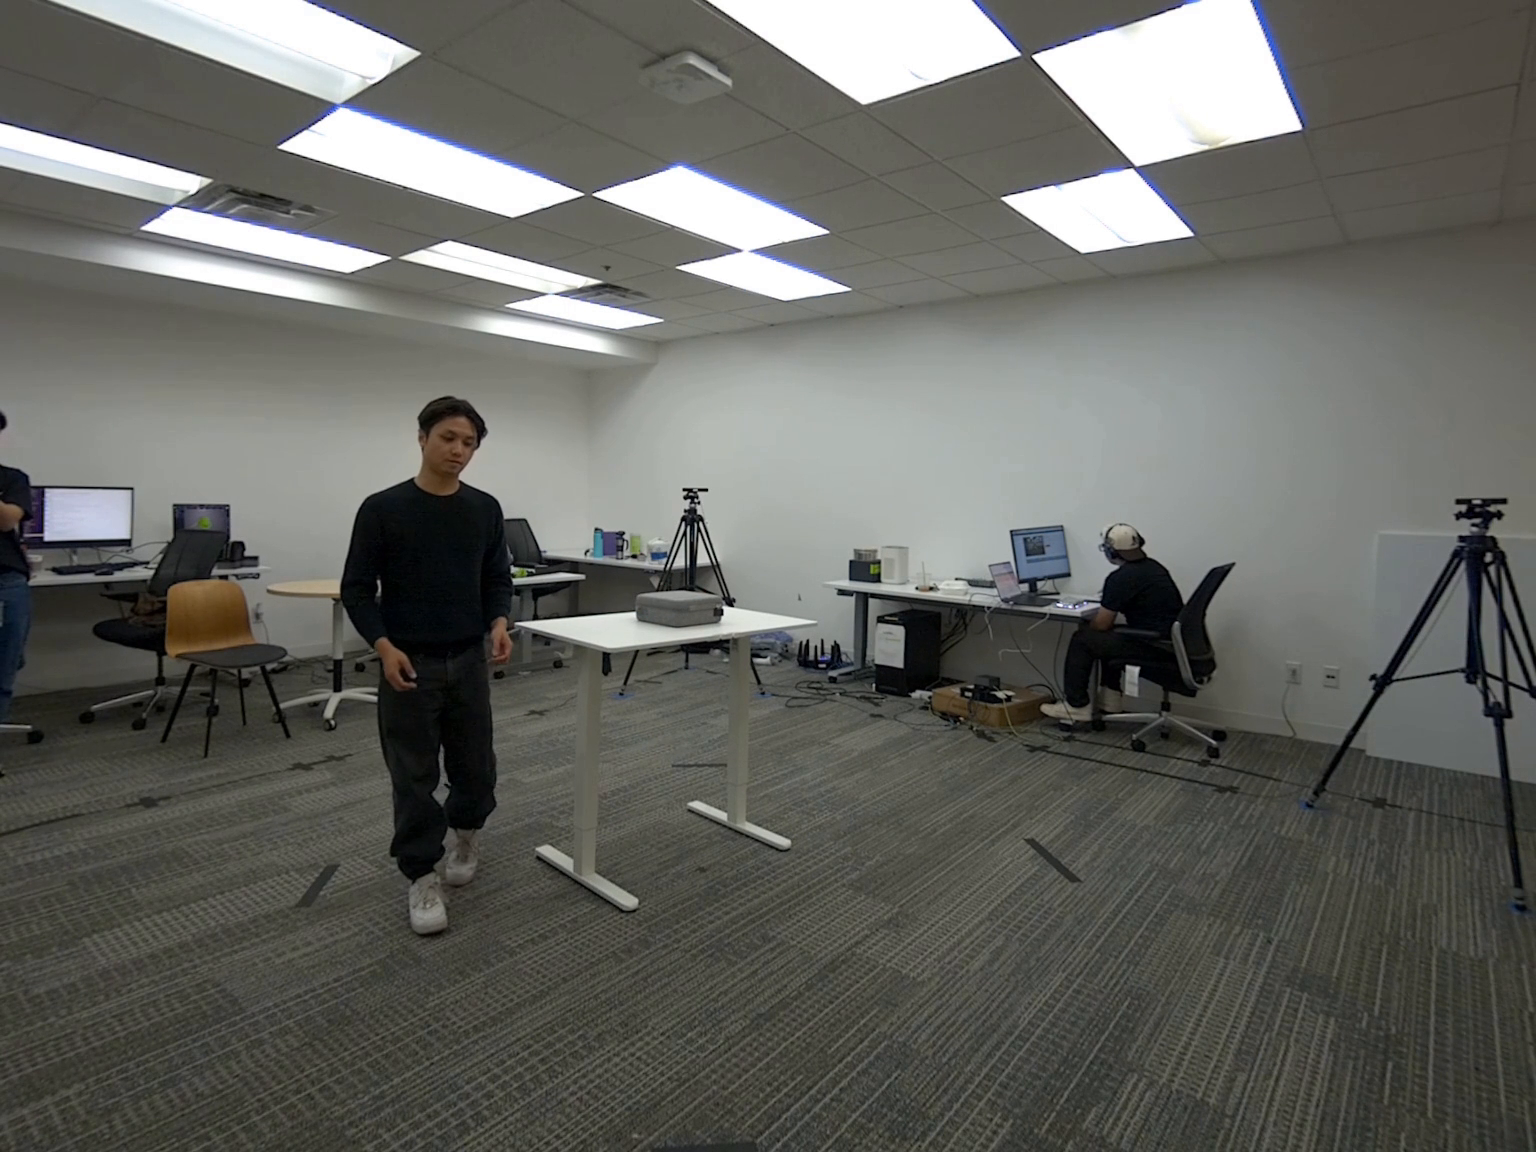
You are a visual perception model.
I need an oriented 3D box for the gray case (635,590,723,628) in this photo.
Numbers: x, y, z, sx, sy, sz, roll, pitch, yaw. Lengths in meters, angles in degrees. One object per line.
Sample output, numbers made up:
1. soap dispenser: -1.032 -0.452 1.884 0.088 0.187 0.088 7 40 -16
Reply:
1. gray case: -0.357 0.117 3.239 0.269 0.104 0.249 6 8 43
